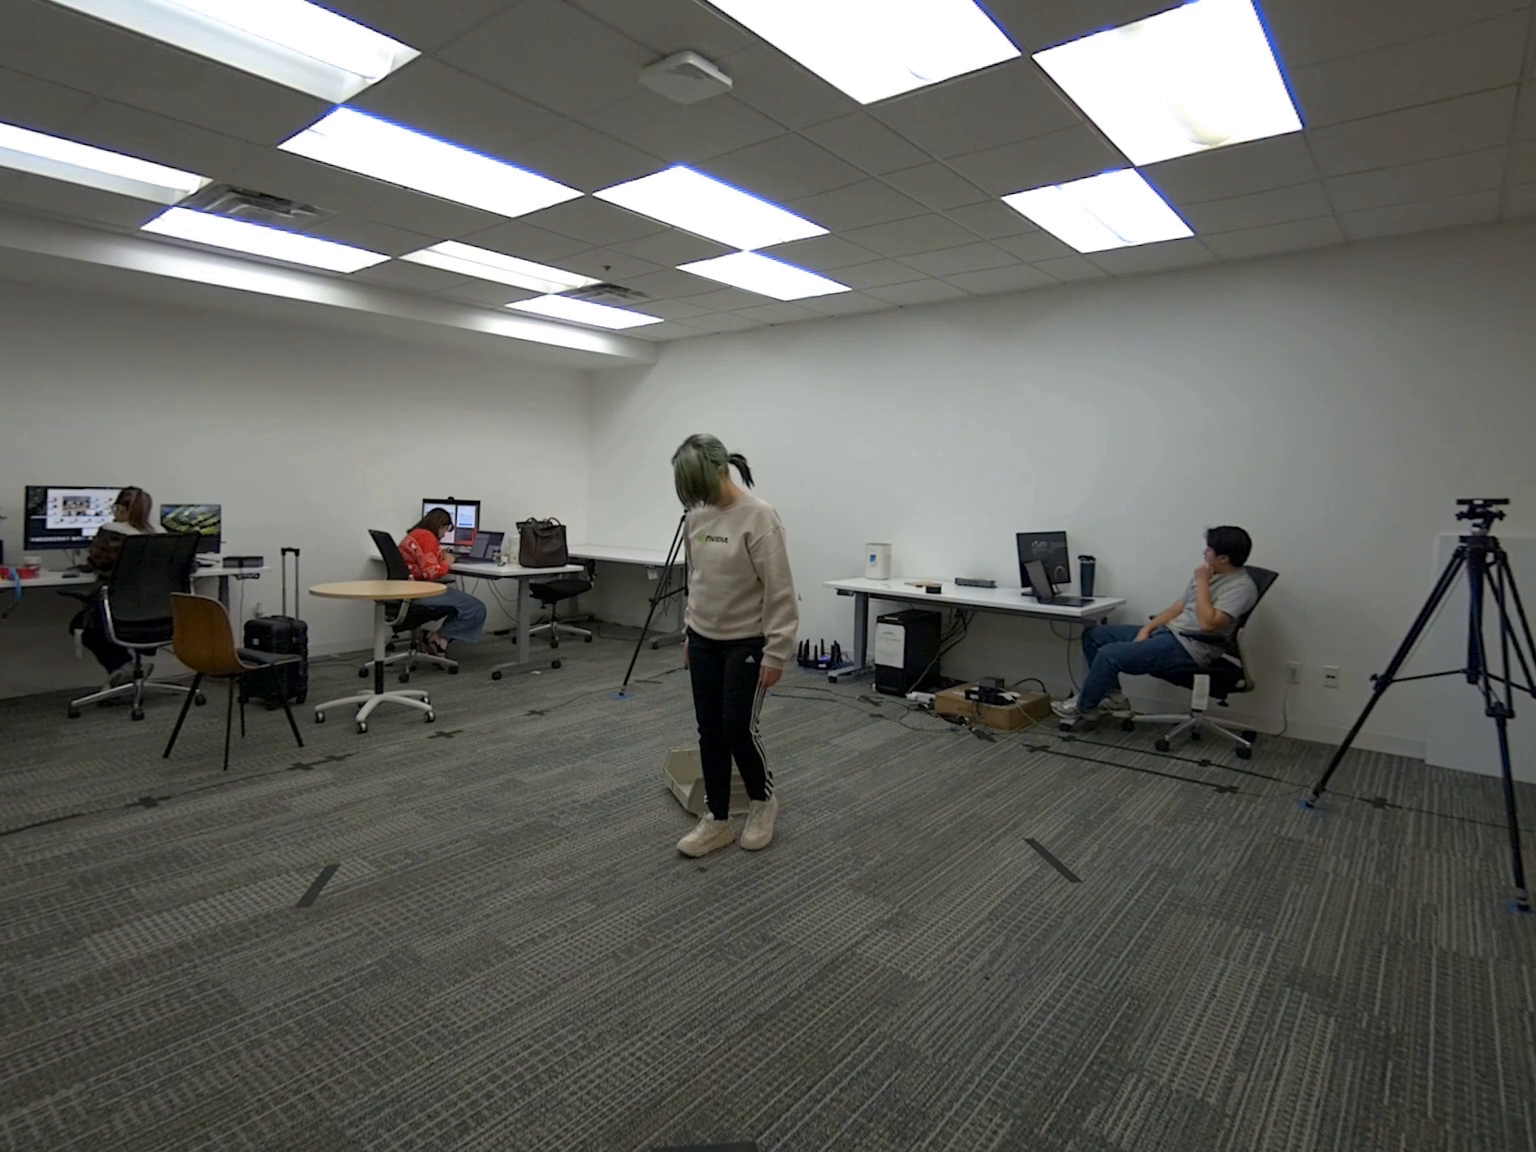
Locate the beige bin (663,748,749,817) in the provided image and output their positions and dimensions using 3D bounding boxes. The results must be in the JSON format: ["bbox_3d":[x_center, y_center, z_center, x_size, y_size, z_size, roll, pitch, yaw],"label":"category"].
[{"bbox_3d":[-0.247,0.908,3.824,0.370,0.188,0.432,0,4,-20],"label":"beige bin"}]
